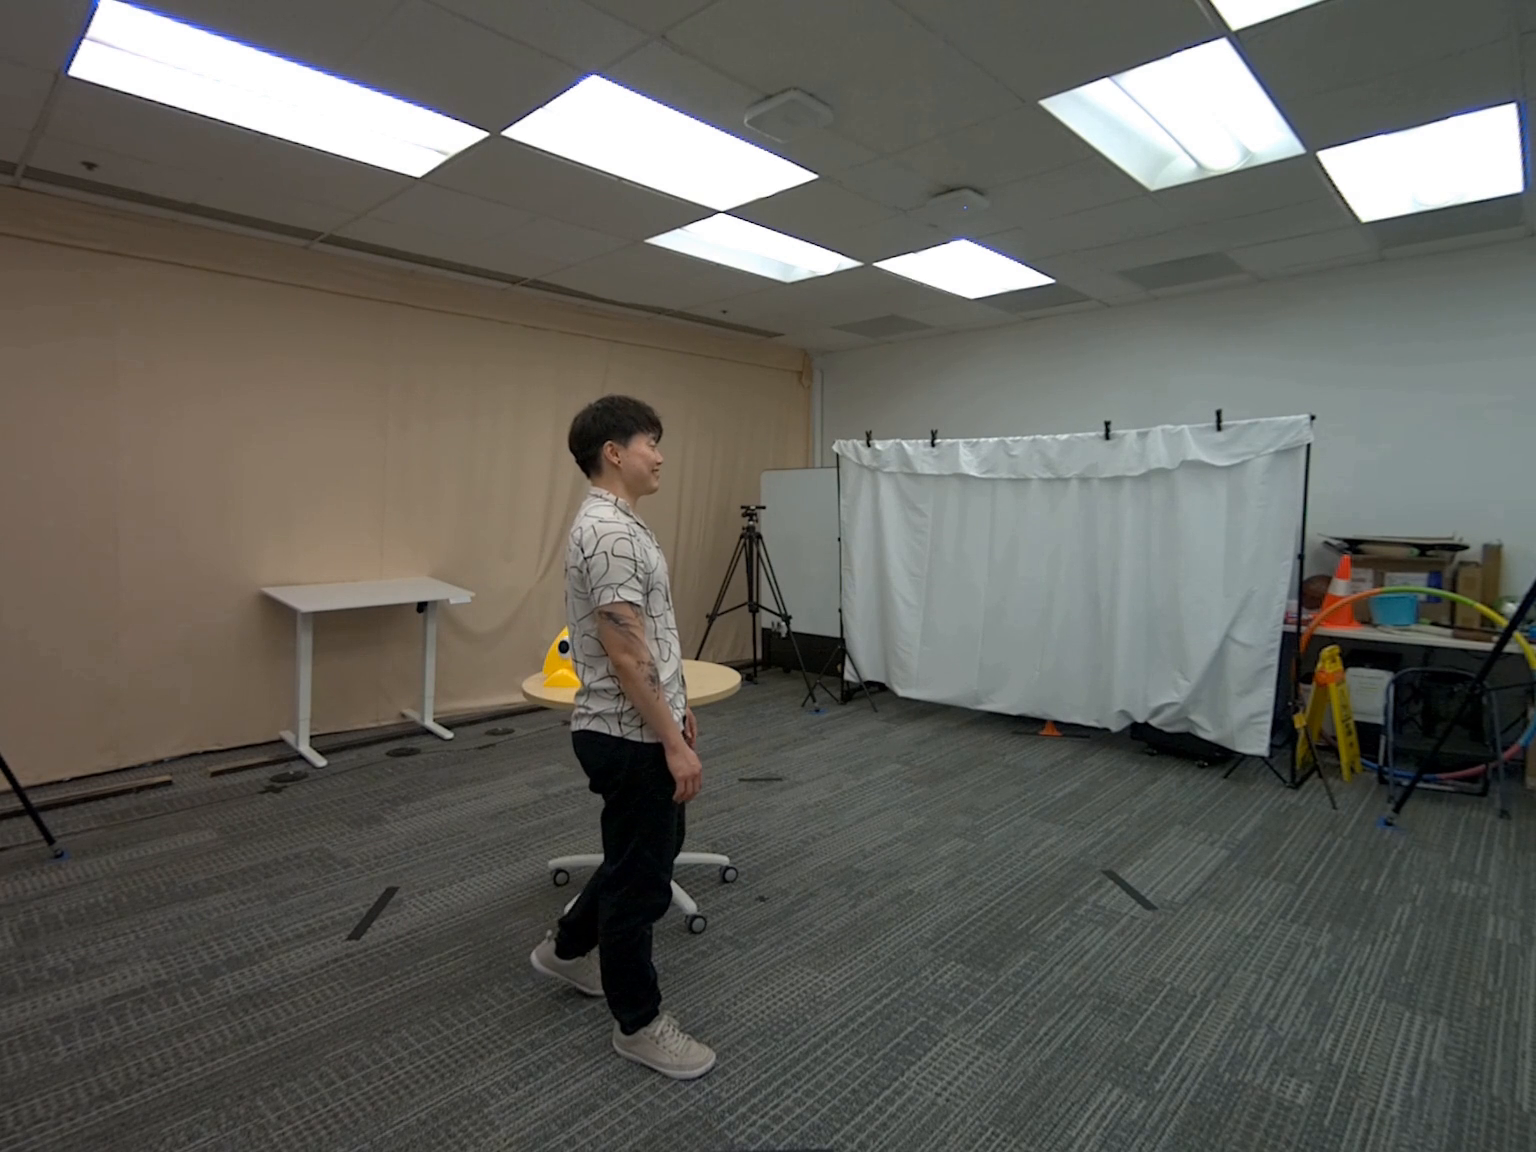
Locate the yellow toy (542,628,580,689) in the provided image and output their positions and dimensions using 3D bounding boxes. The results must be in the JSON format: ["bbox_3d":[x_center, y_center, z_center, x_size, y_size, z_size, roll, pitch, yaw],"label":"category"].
[{"bbox_3d":[-0.700,0.255,2.952,0.192,0.230,0.206,-1,3,-7],"label":"yellow toy"}]
